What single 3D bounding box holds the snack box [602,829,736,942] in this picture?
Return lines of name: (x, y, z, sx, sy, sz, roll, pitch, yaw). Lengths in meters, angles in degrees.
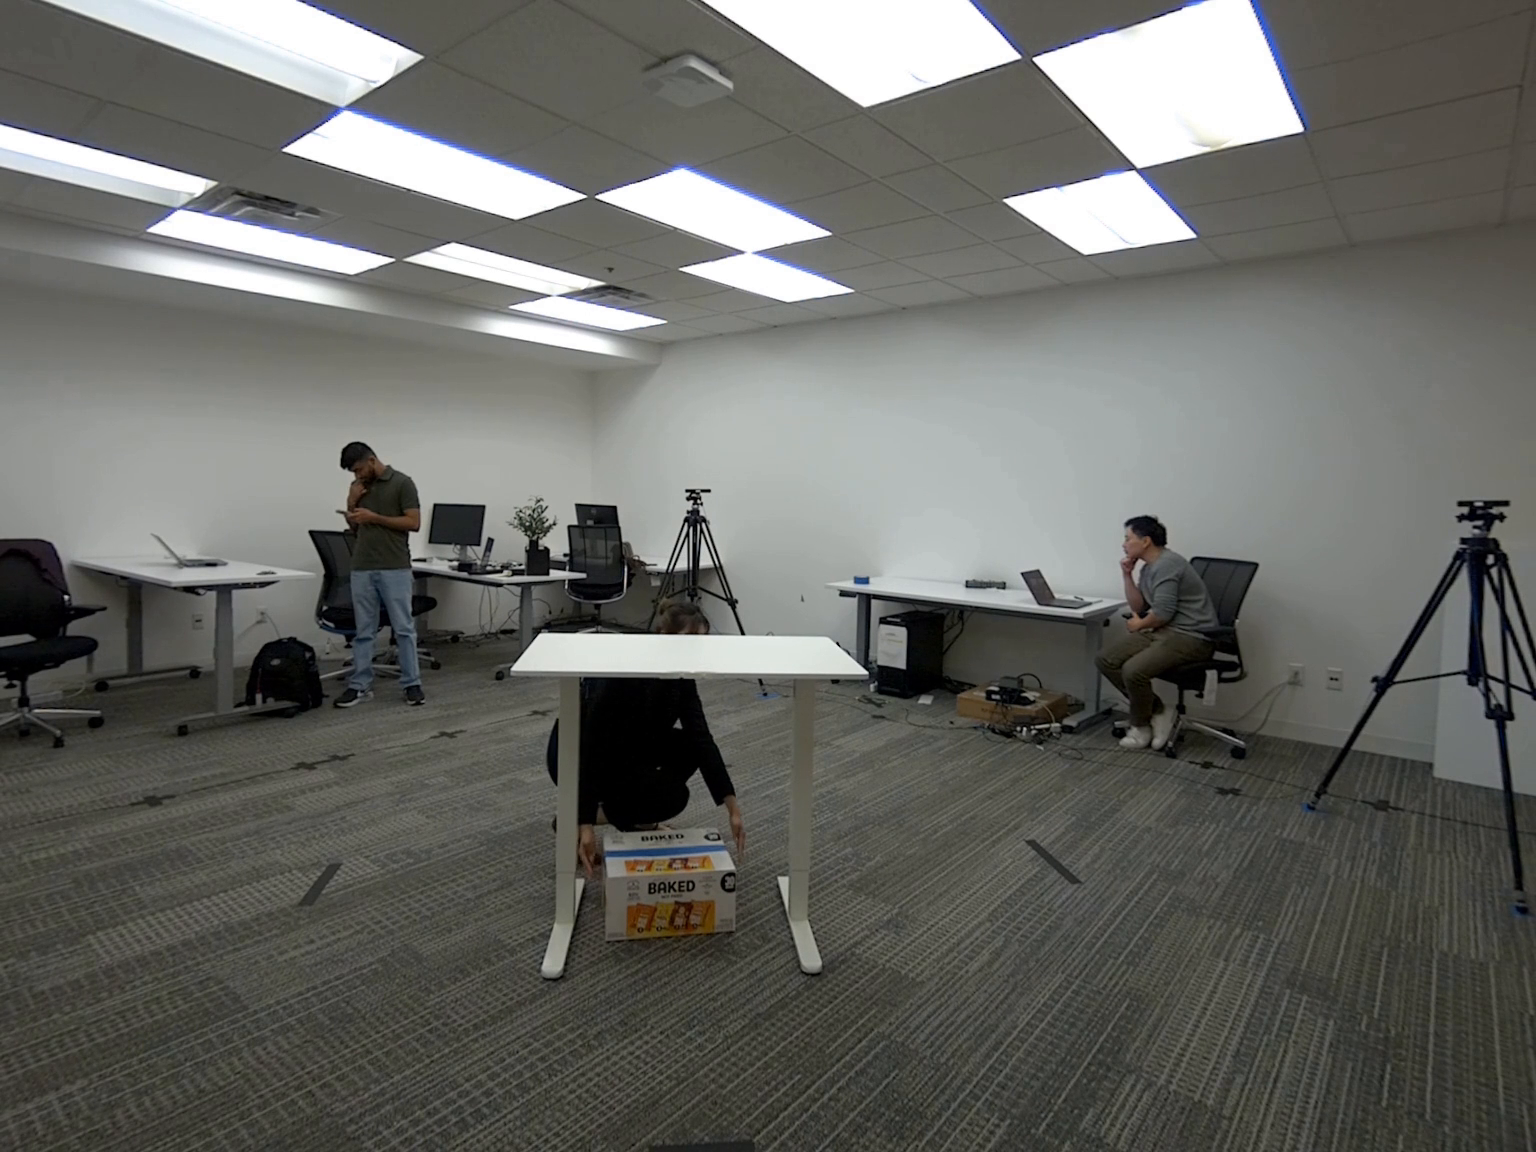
snack box: (-0.346, 1.000, 2.800, 0.400, 0.205, 0.346, 0, 5, -12)
